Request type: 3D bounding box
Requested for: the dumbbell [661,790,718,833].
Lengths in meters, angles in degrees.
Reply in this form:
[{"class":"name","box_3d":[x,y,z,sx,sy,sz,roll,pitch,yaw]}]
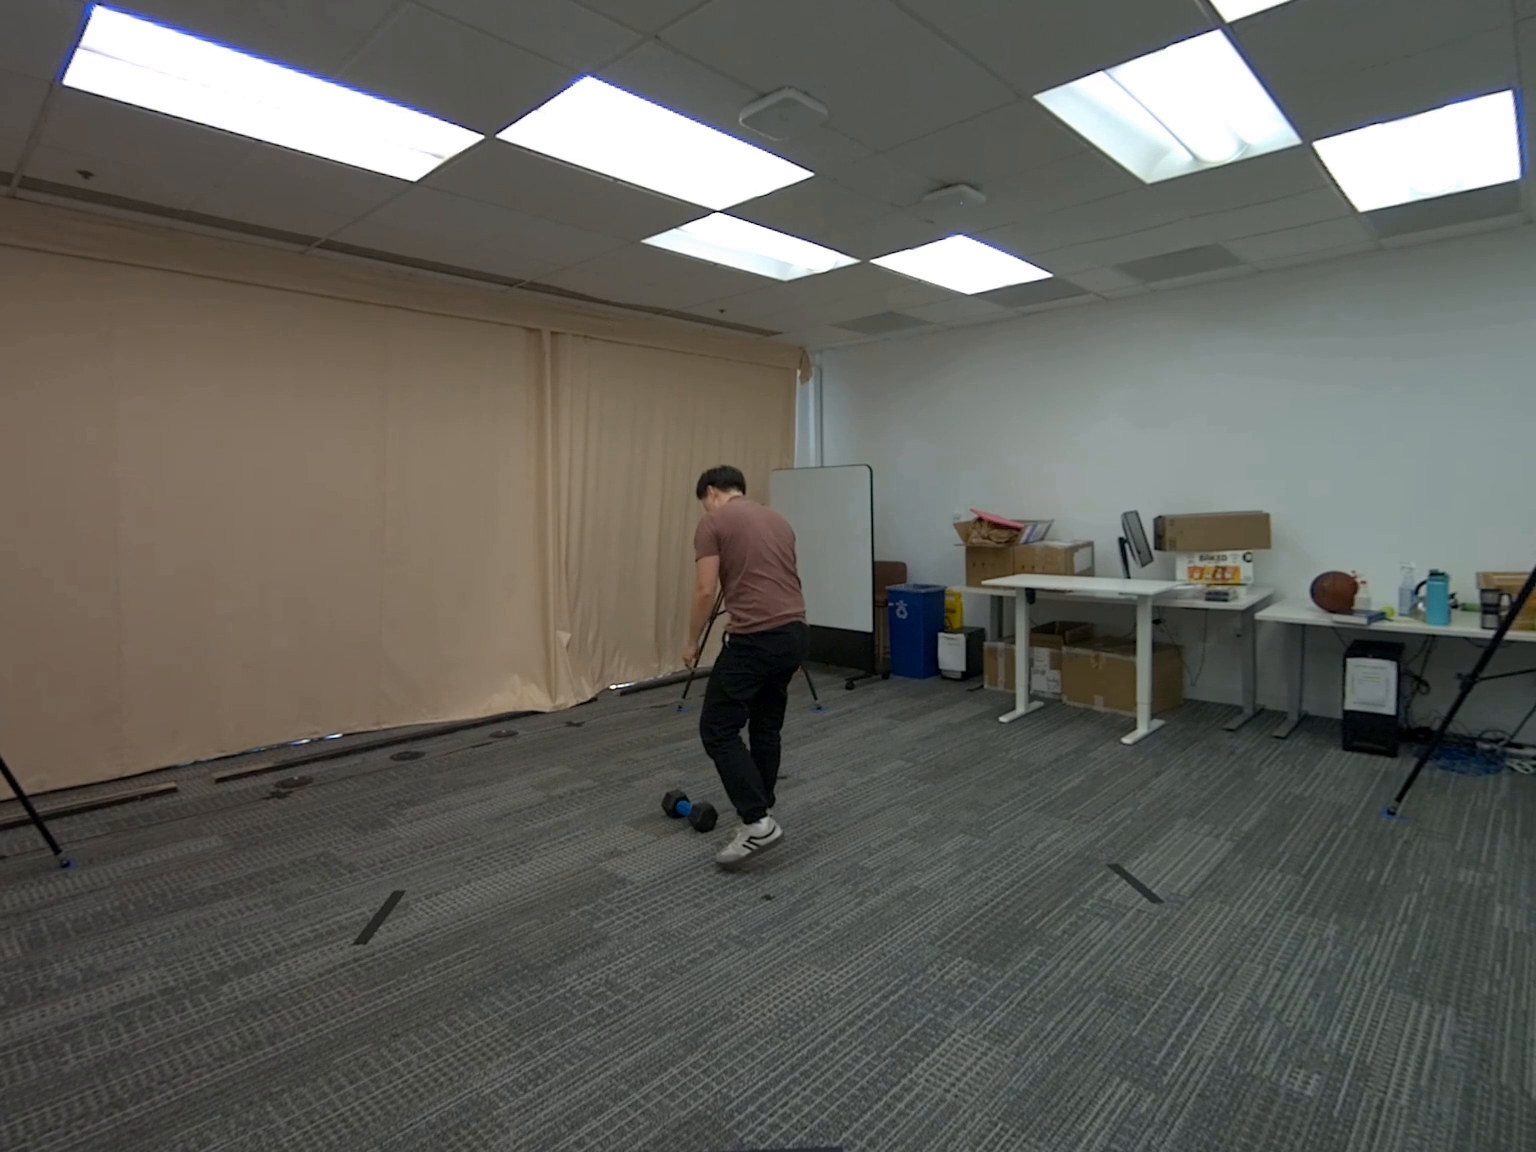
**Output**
[{"class":"dumbbell","box_3d":[-0.346,1.032,3.707,0.105,0.123,0.303,33,-17,-35]}]
